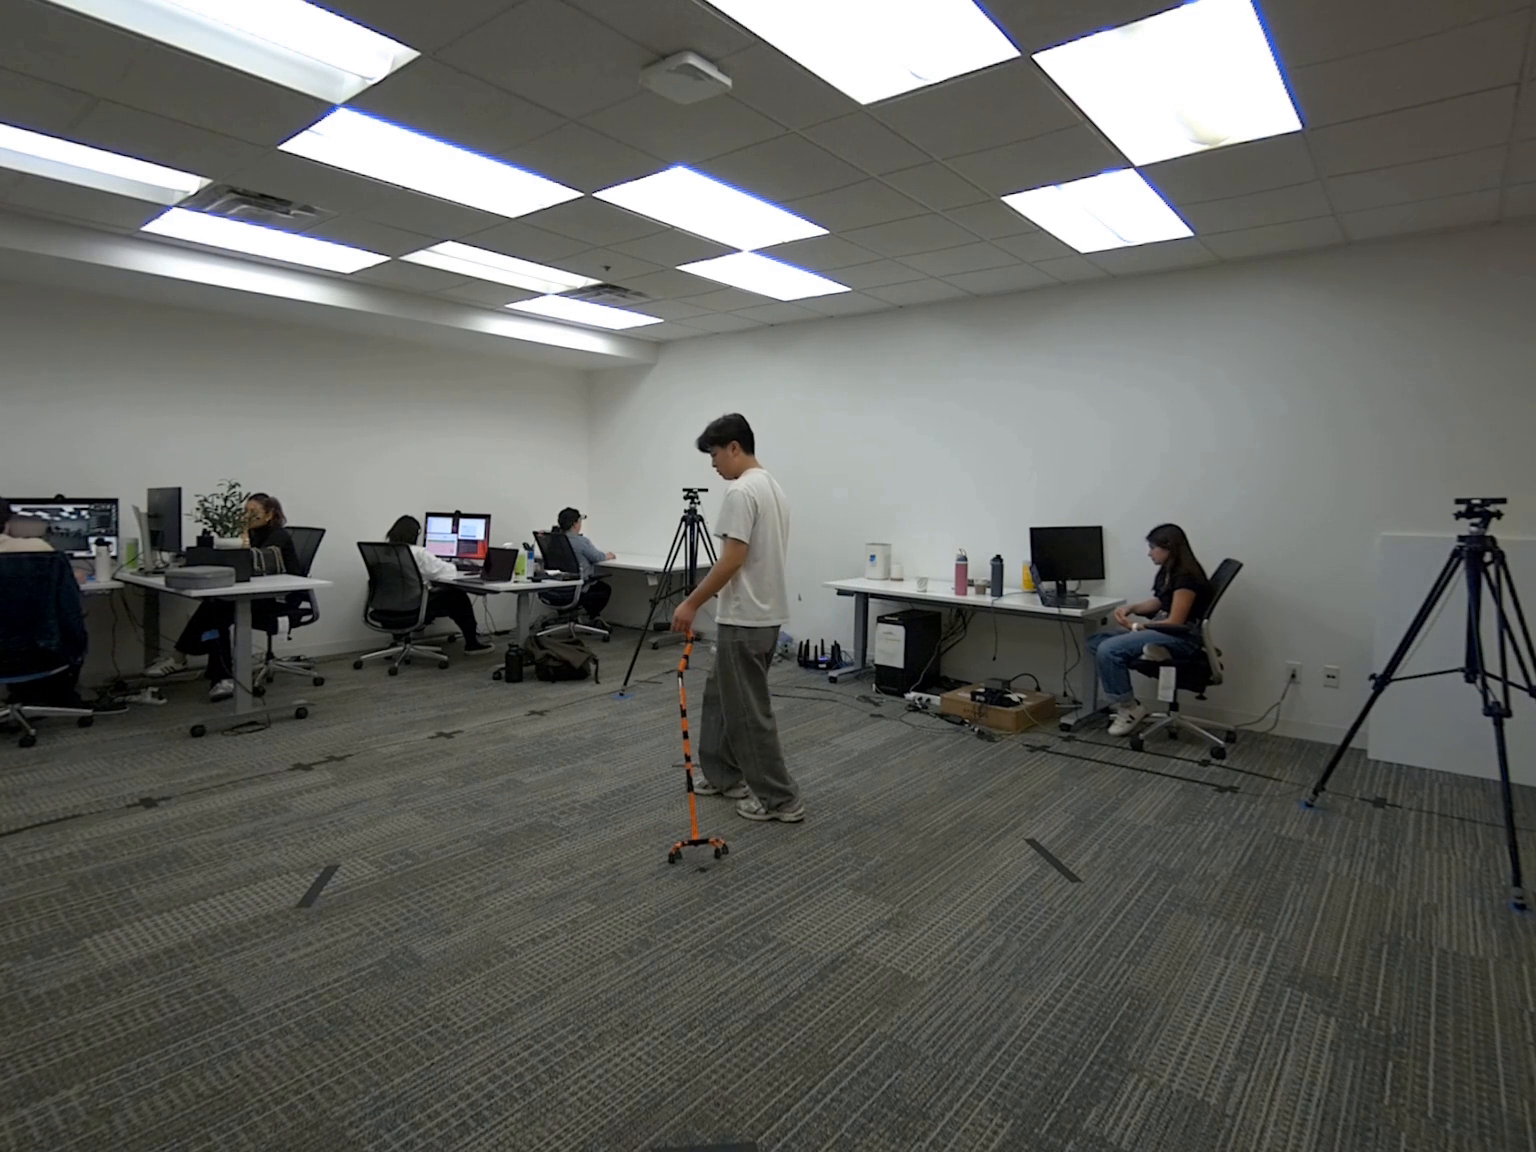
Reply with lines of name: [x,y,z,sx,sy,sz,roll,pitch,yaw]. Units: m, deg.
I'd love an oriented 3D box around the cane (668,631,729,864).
cane: [-0.309,0.612,3.311,0.203,0.930,0.150,-1,-25,-14]
